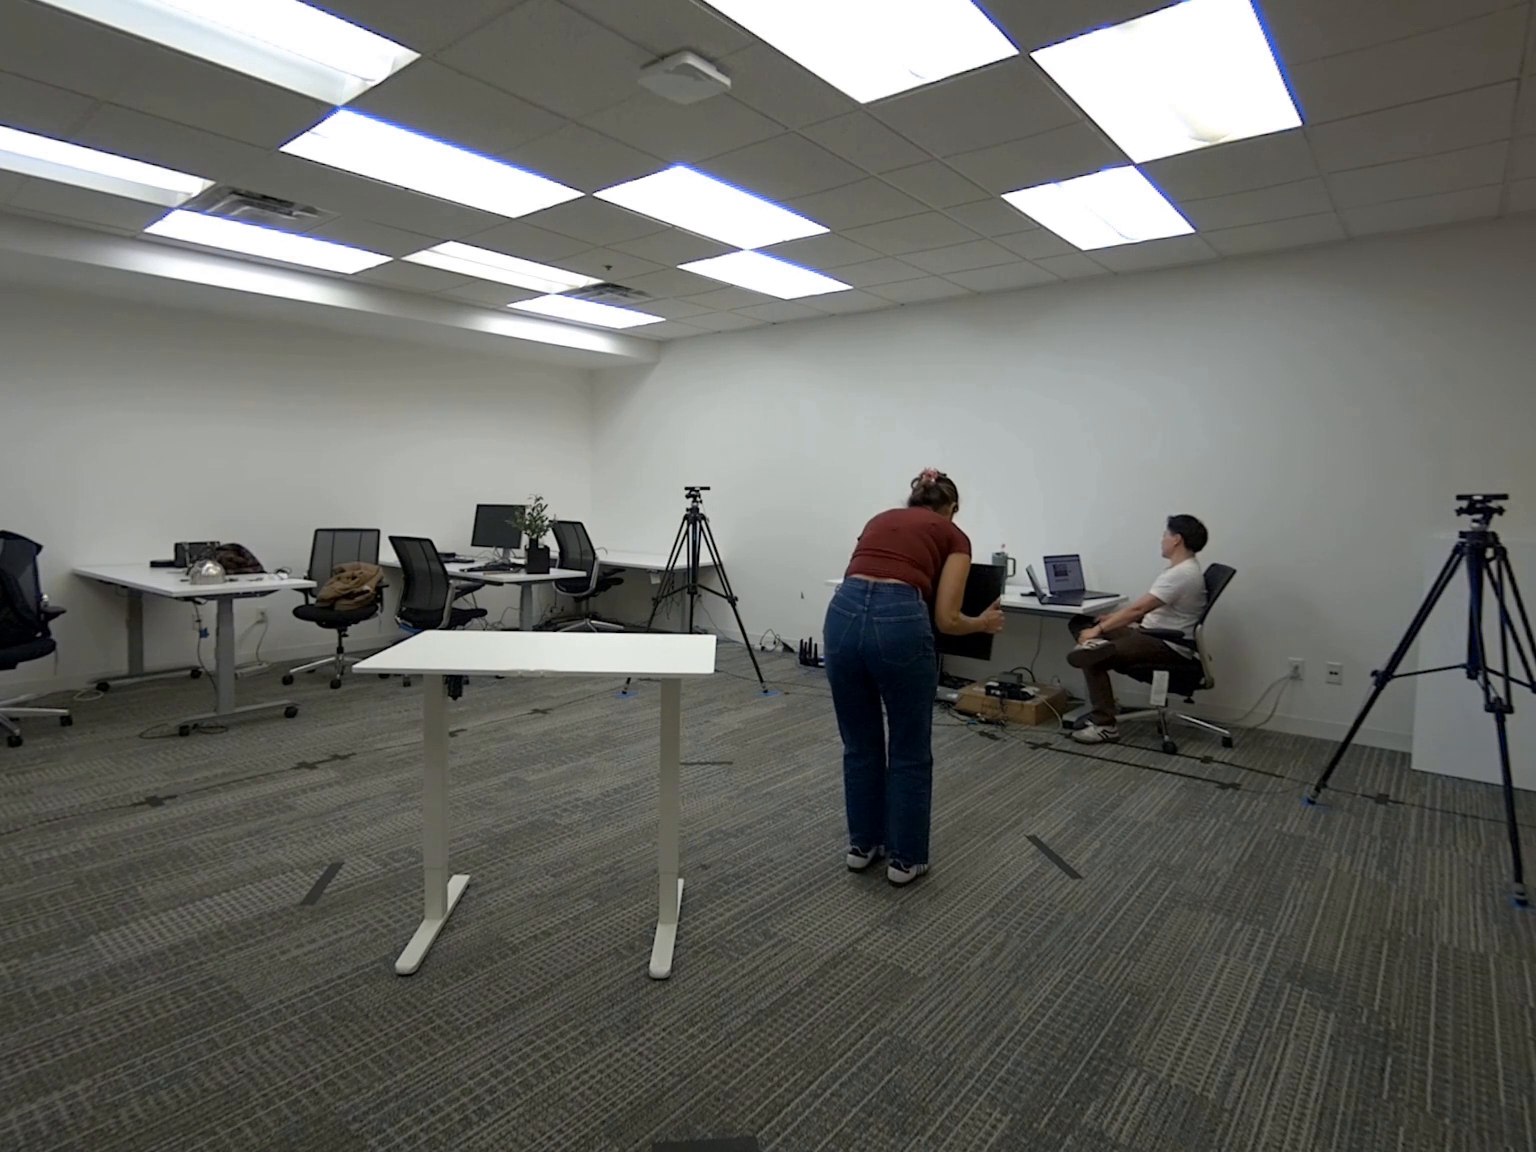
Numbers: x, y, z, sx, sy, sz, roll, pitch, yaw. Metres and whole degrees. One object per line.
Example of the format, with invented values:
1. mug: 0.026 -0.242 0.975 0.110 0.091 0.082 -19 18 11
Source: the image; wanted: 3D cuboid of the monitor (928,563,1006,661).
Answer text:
1. monitor: 0.602 0.196 3.255 0.556 0.522 0.181 6 3 33
